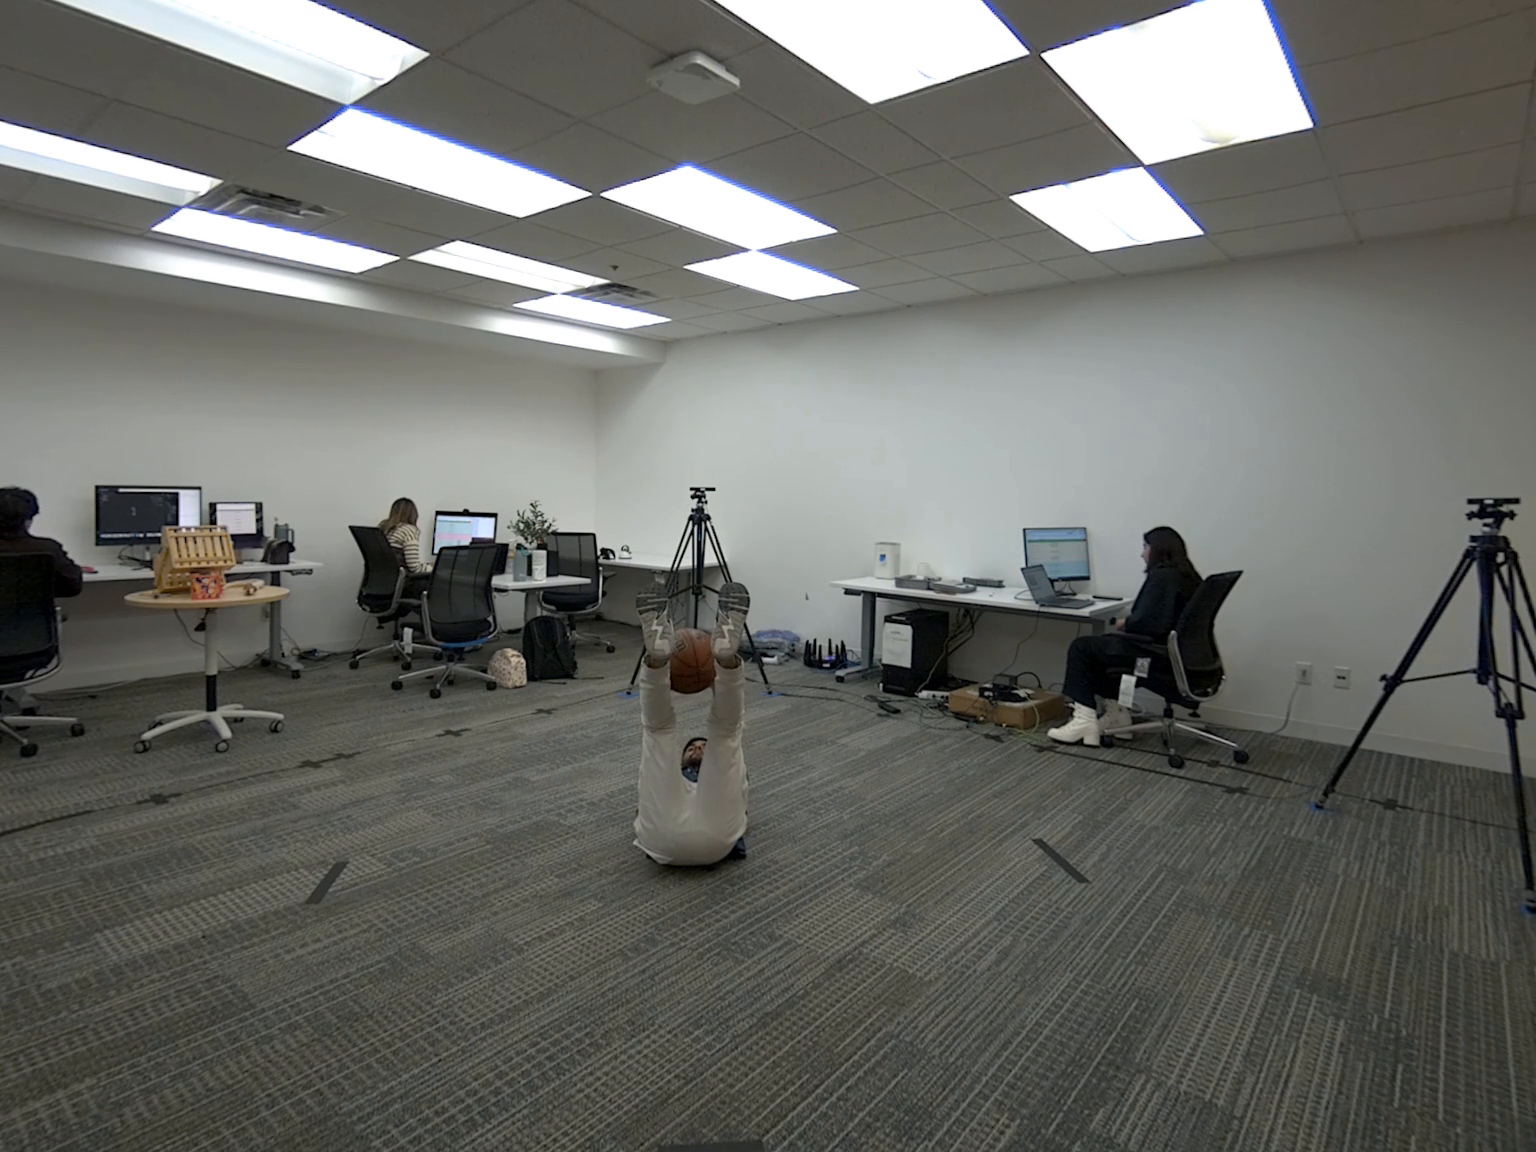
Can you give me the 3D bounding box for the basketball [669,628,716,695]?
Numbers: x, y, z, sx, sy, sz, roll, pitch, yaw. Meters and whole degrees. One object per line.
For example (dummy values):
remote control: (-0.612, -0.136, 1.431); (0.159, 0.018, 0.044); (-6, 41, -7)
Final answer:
basketball: (-0.296, 0.298, 3.131); (0.235, 0.235, 0.237); (1, 4, -2)
